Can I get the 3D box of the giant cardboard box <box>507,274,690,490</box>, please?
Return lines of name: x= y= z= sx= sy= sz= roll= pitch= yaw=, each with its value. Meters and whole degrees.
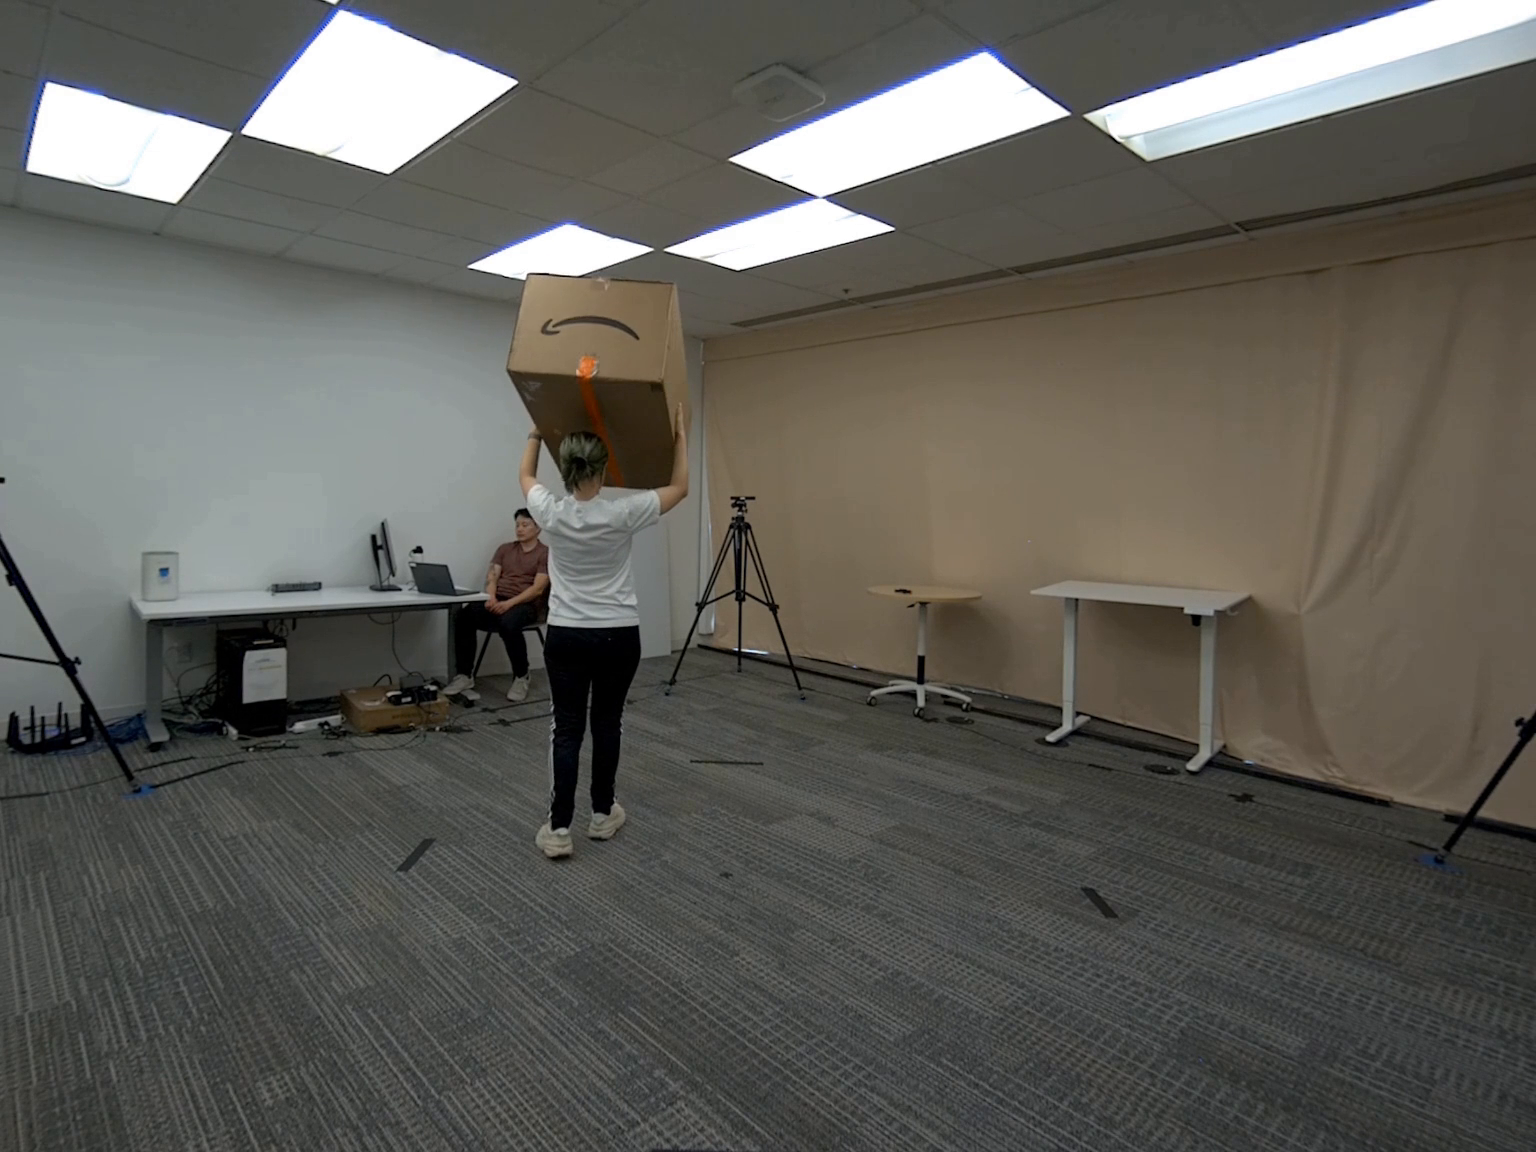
giant cardboard box: x=-0.667 y=-0.771 z=3.573 sx=0.585 sy=0.452 sz=1.014 roll=5 pitch=-17 yaw=1
